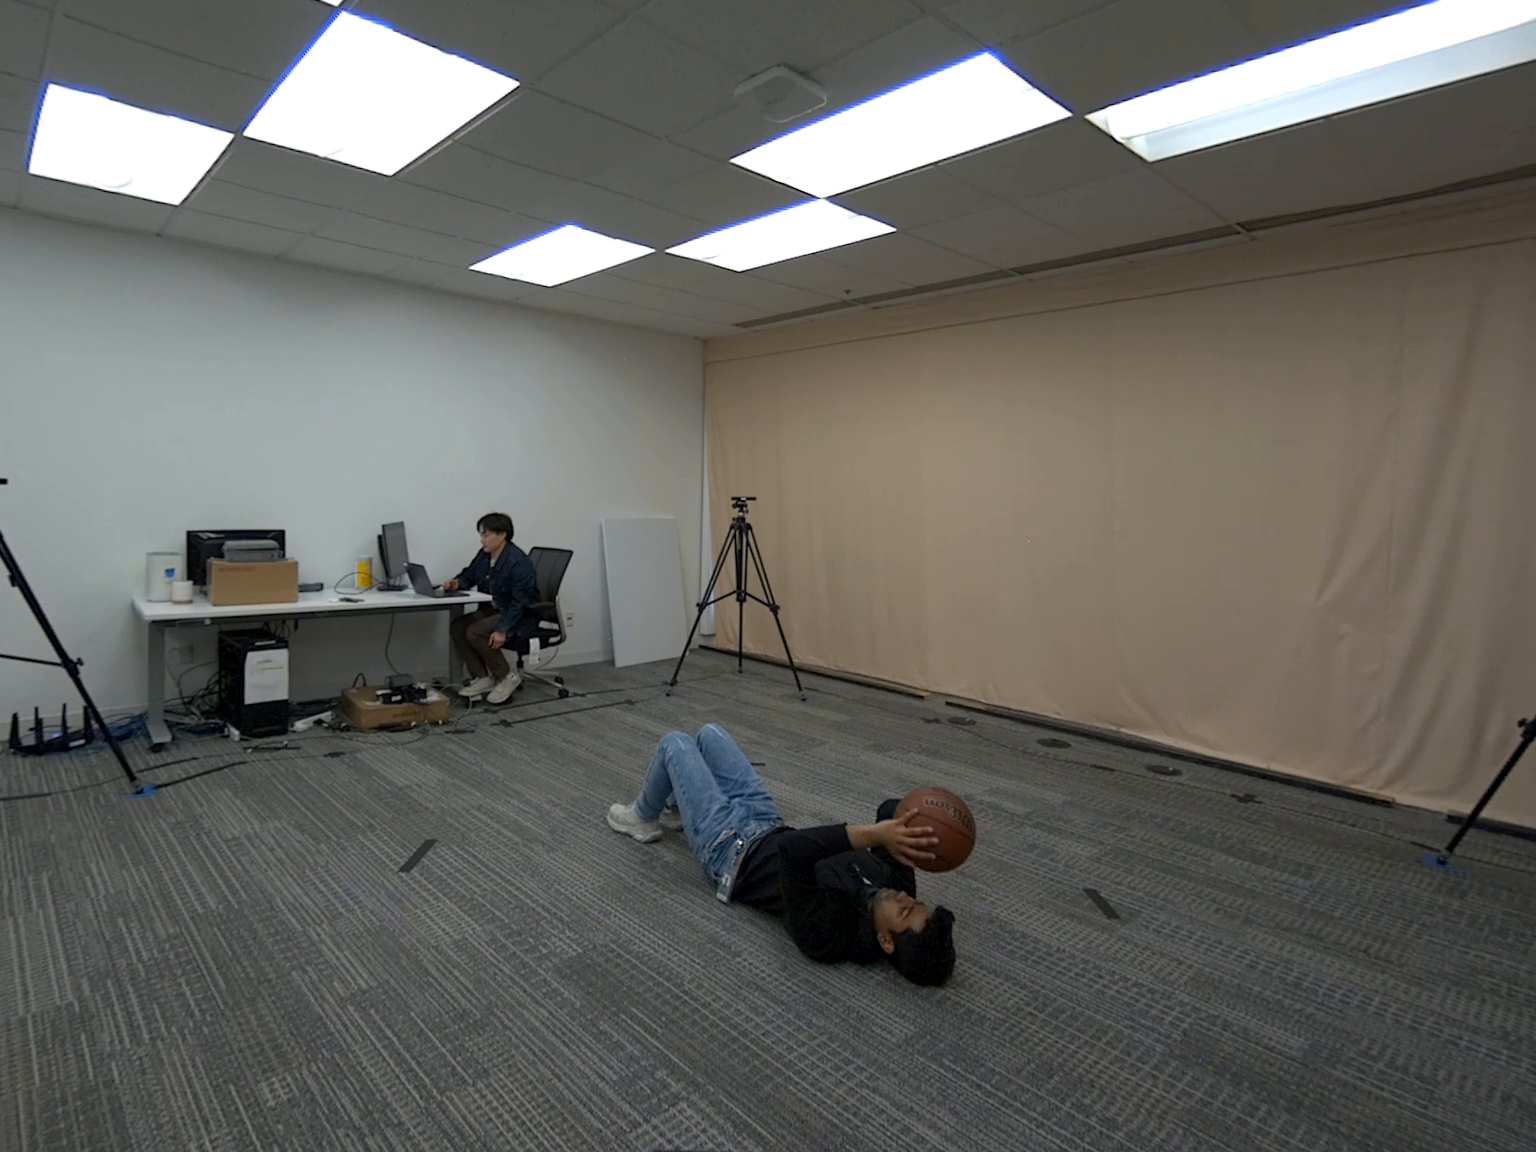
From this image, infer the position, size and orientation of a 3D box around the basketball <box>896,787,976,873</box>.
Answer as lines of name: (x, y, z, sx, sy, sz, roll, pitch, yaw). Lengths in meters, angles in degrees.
basketball: (0.481, 0.750, 2.468, 0.236, 0.235, 0.237, 1, 4, -1)
